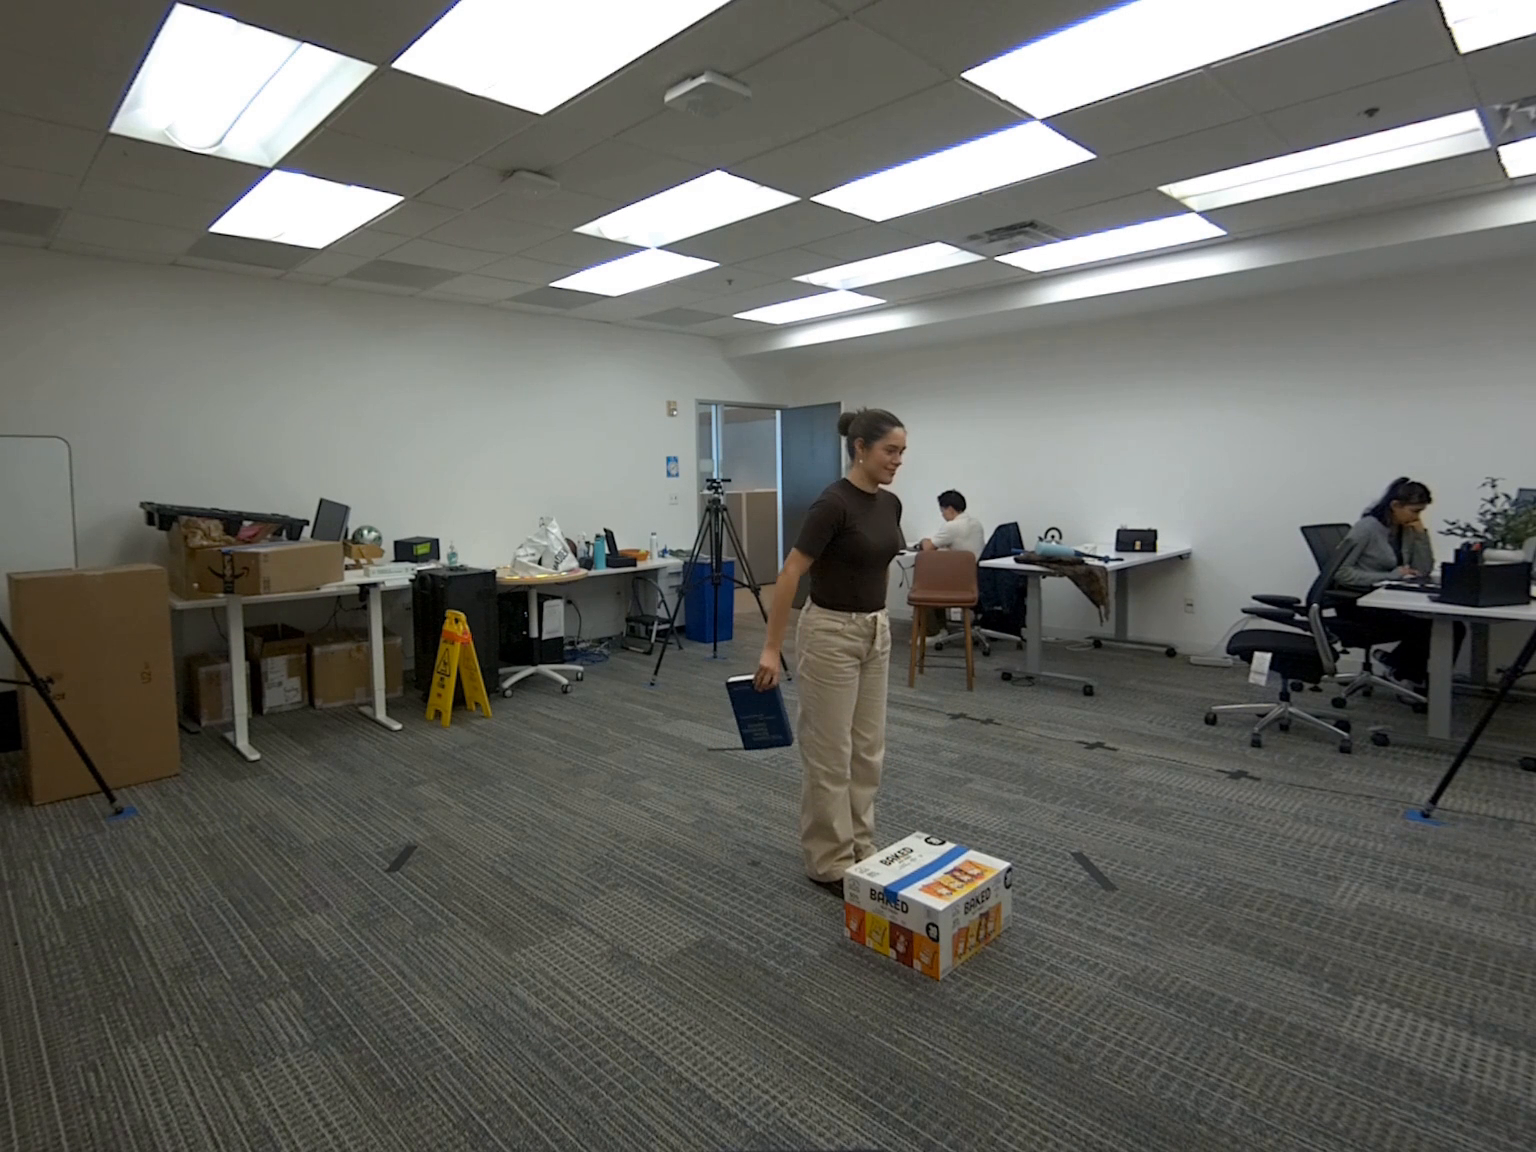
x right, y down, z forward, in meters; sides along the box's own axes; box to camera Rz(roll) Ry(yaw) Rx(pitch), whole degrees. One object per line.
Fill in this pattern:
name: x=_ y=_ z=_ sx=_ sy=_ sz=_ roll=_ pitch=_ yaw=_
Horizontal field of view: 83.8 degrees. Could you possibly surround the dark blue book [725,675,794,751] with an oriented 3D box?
dark blue book: x=-0.010 y=0.437 z=2.752 sx=0.166 sy=0.242 sz=0.045 roll=-10 pitch=11 yaw=24
